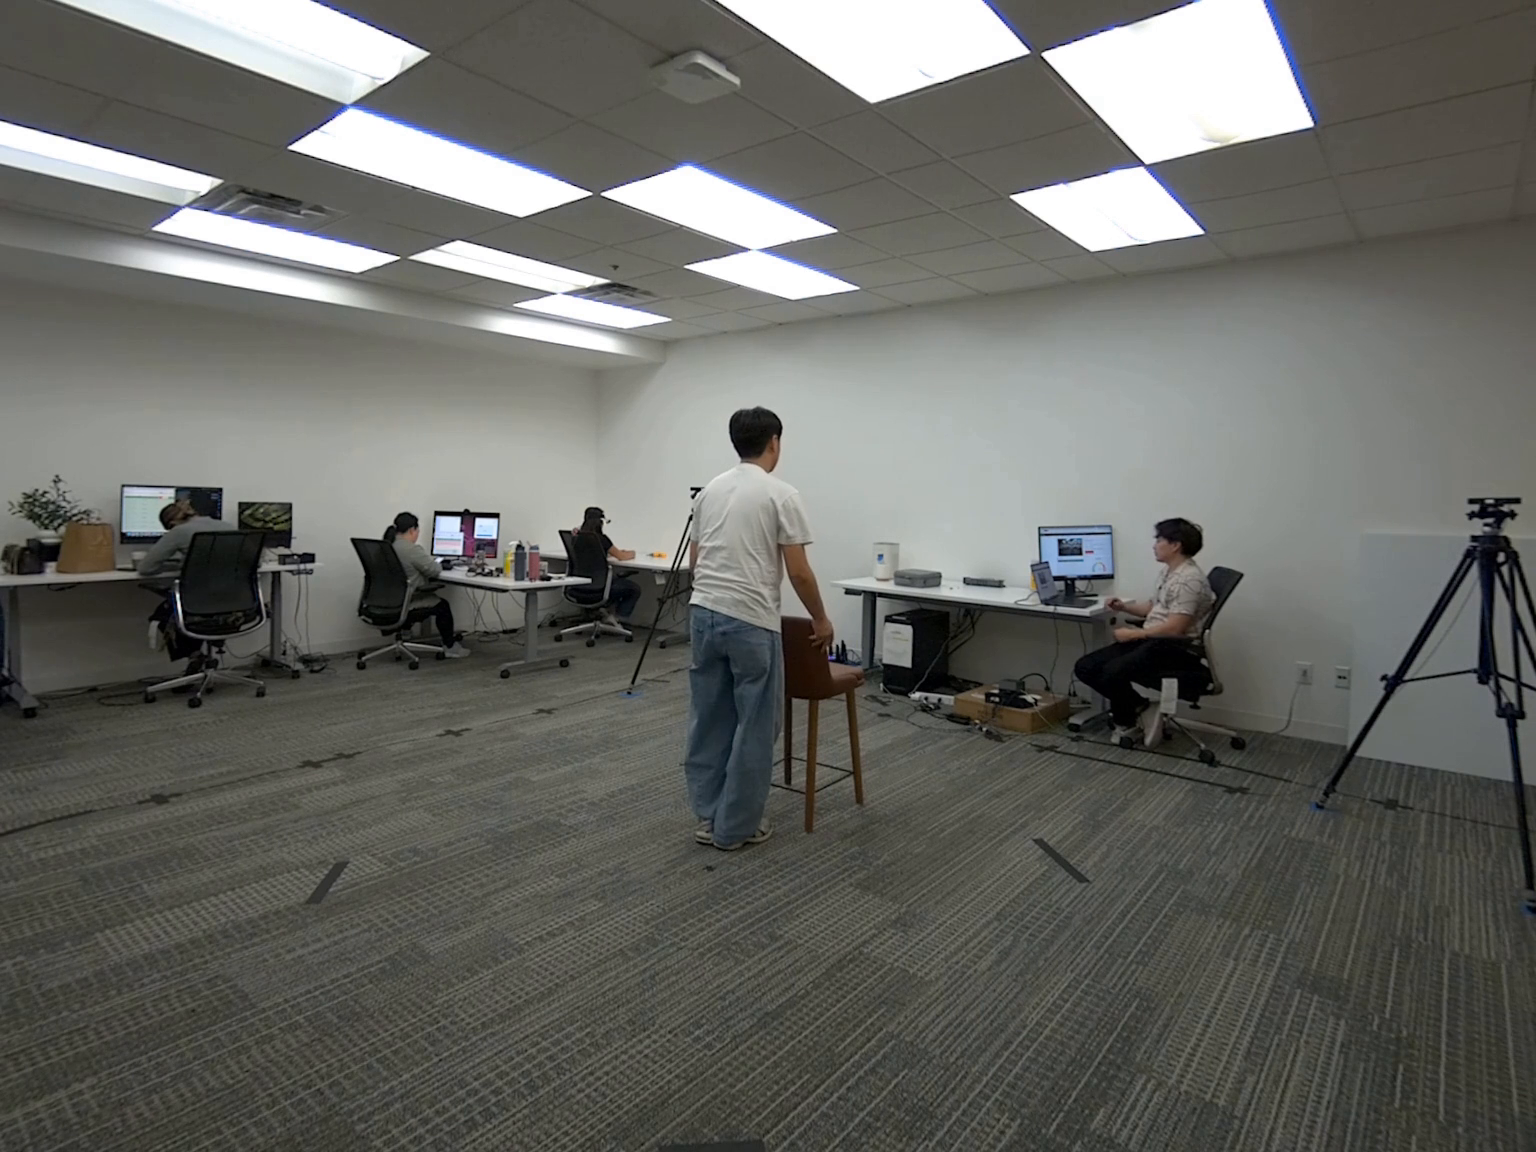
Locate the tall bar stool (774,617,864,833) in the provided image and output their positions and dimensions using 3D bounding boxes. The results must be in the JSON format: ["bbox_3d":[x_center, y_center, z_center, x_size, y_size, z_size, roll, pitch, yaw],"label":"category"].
[{"bbox_3d":[0.133,0.574,3.712,0.471,0.885,0.455,3,6,35],"label":"tall bar stool"}]
